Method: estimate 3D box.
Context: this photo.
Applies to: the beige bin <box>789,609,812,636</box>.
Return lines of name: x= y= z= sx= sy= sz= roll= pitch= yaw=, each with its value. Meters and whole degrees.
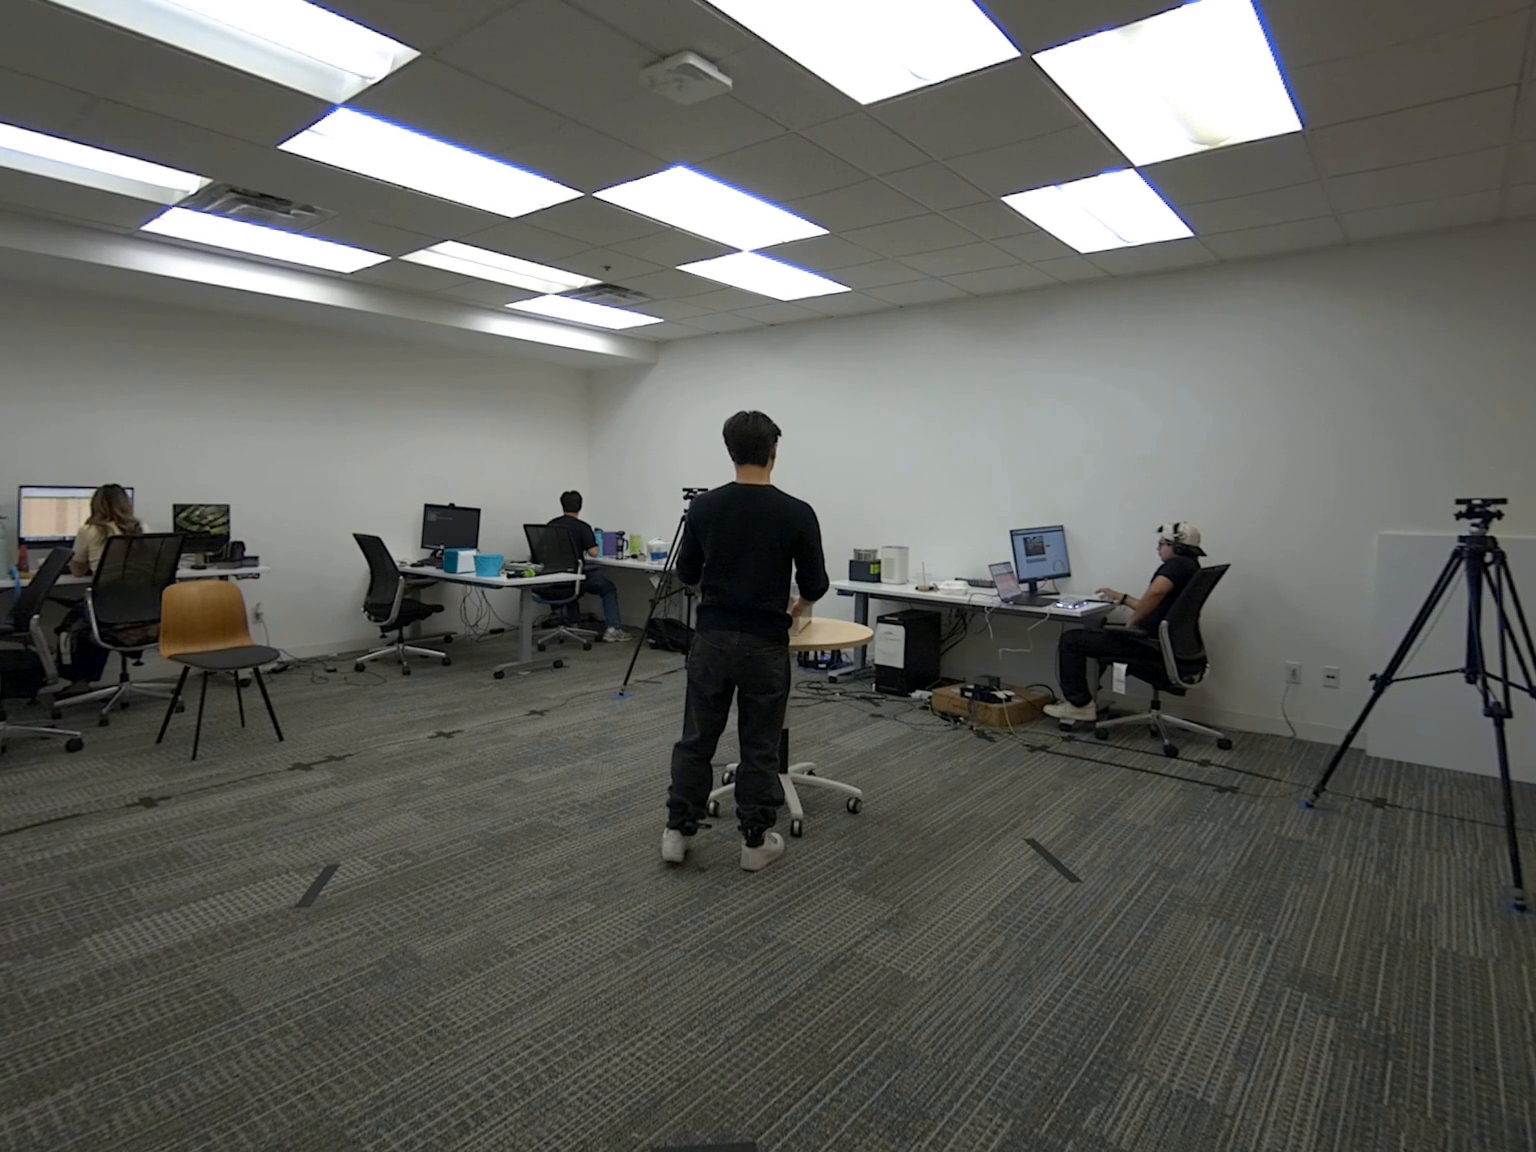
beige bin: x=-0.010 y=0.130 z=3.796 sx=0.383 sy=0.188 sz=0.418 roll=4 pitch=5 yaw=12
